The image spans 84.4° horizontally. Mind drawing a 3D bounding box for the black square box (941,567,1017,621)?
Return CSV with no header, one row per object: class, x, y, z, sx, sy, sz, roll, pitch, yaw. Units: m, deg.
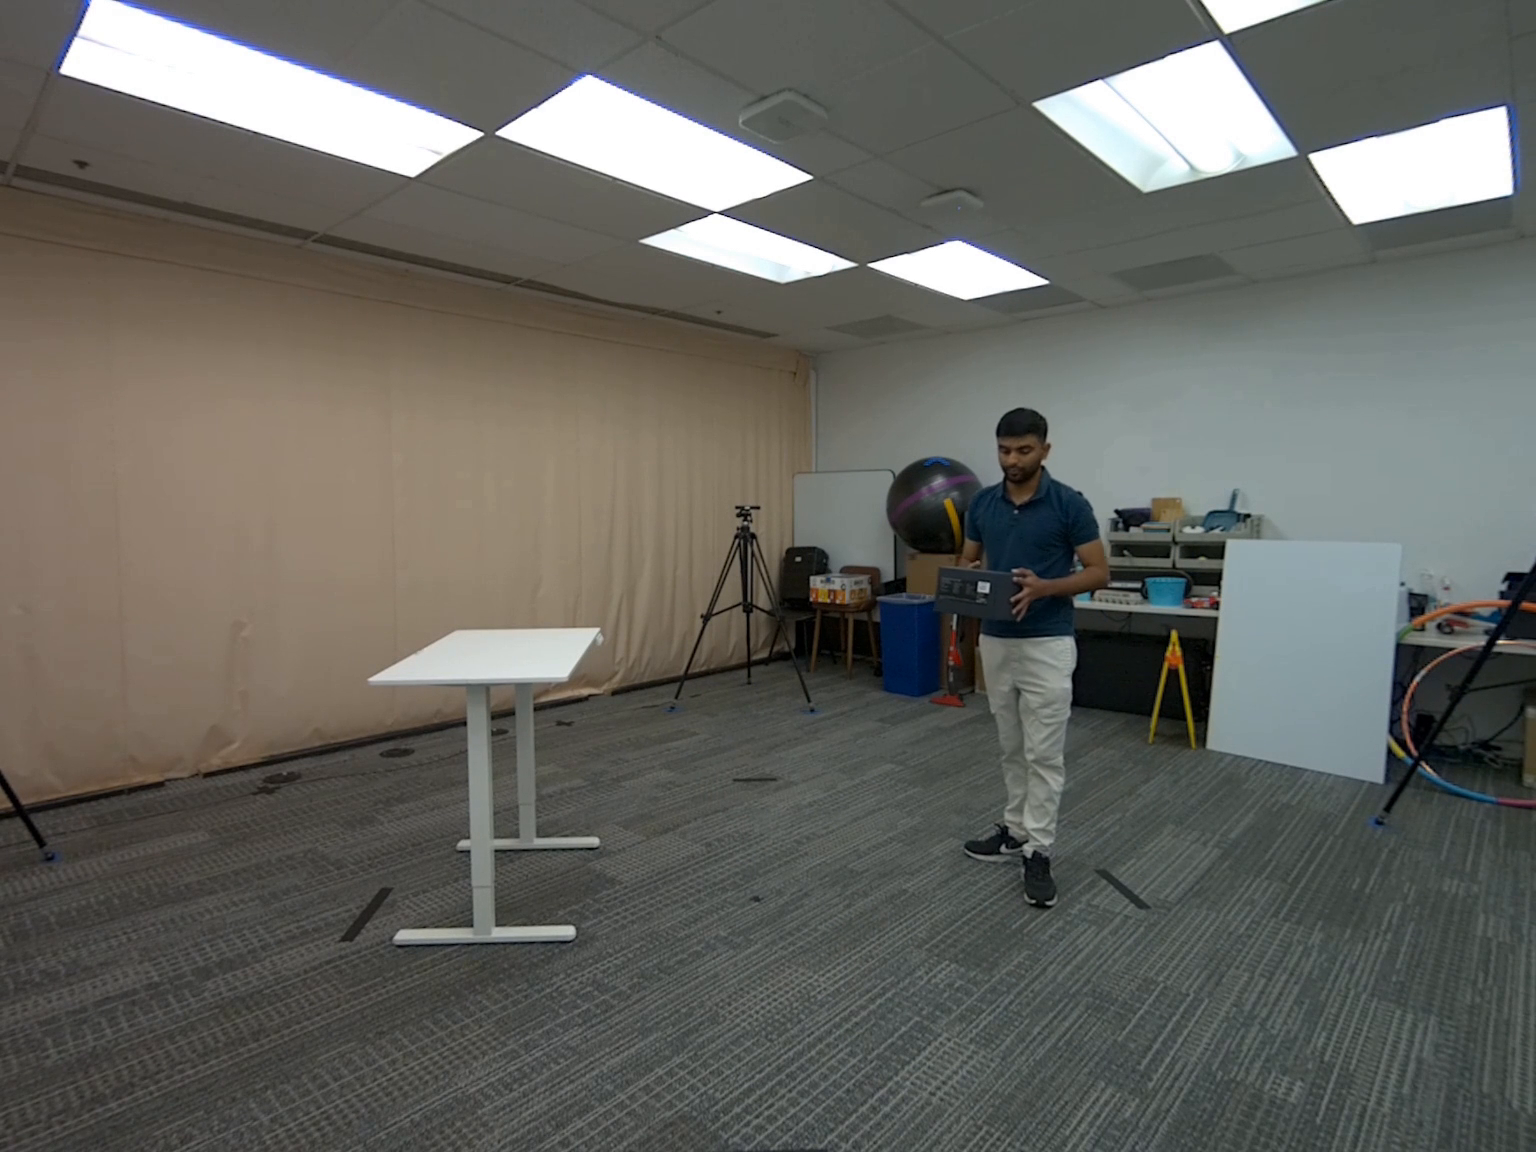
black square box,0.751,0.060,2.879,0.220,0.156,0.224,2,4,-45
